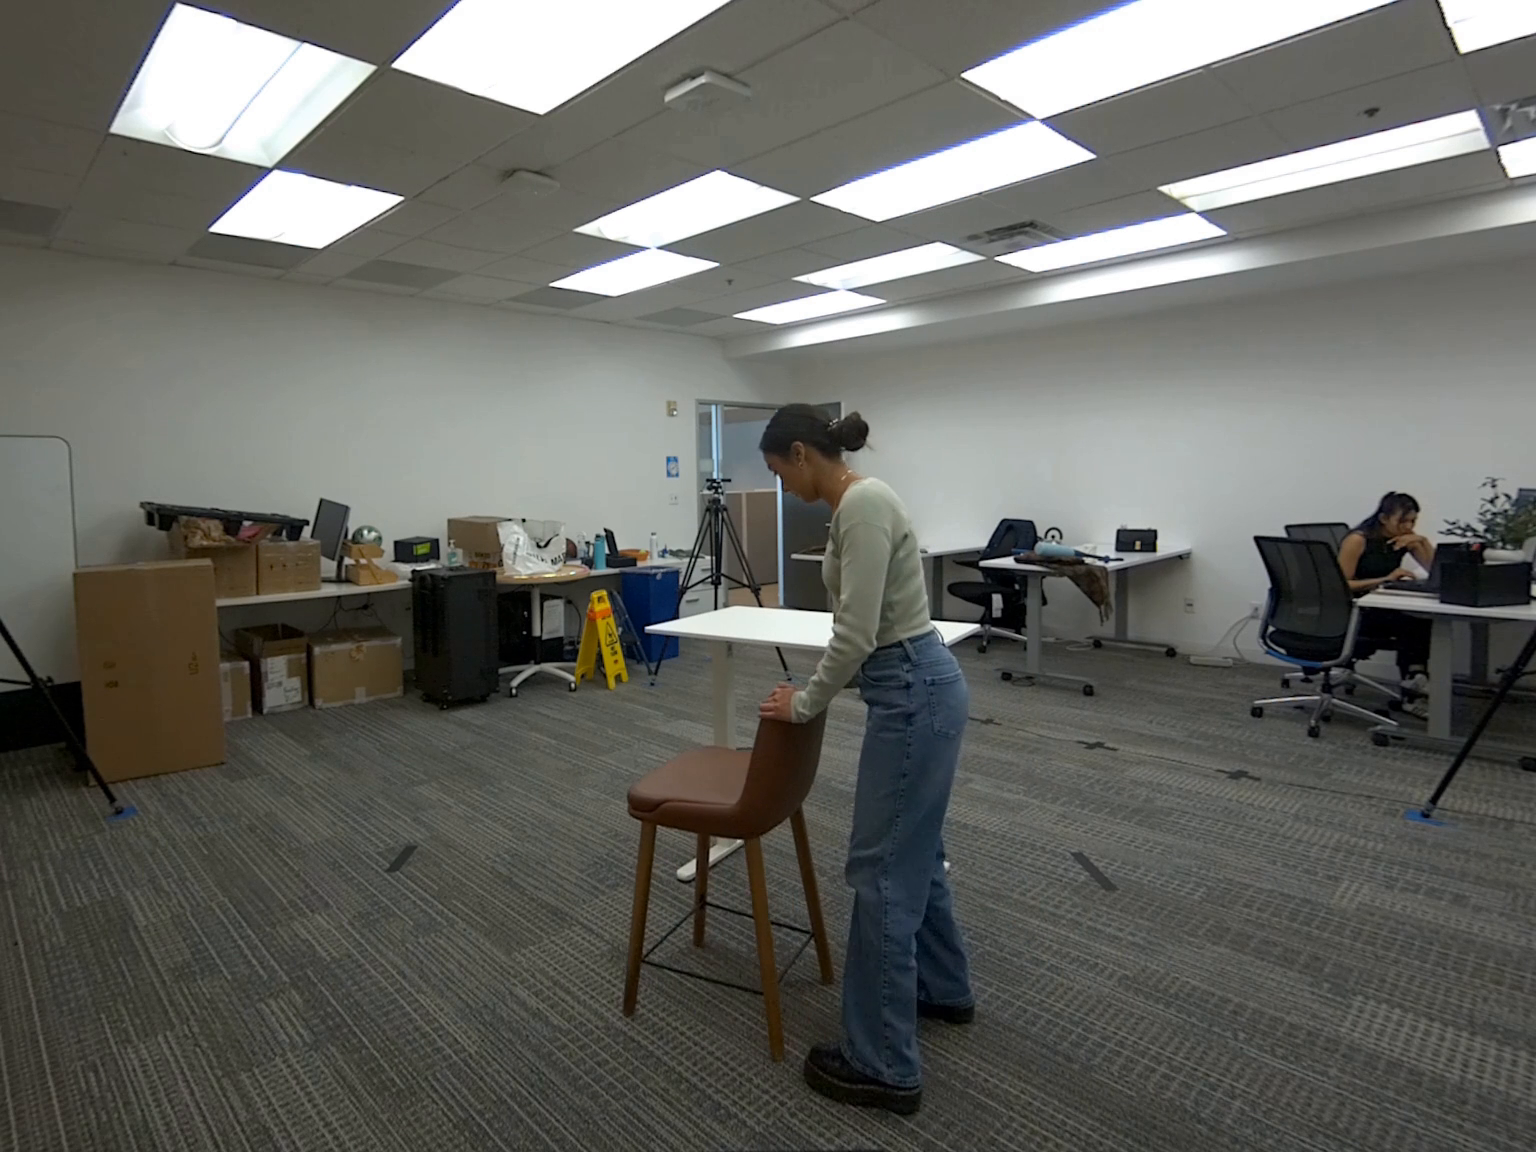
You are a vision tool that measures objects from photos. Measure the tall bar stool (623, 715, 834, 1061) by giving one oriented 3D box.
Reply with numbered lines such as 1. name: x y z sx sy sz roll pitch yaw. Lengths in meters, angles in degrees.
1. tall bar stool: -0.088 0.703 2.283 0.479 0.885 0.447 4 6 26
